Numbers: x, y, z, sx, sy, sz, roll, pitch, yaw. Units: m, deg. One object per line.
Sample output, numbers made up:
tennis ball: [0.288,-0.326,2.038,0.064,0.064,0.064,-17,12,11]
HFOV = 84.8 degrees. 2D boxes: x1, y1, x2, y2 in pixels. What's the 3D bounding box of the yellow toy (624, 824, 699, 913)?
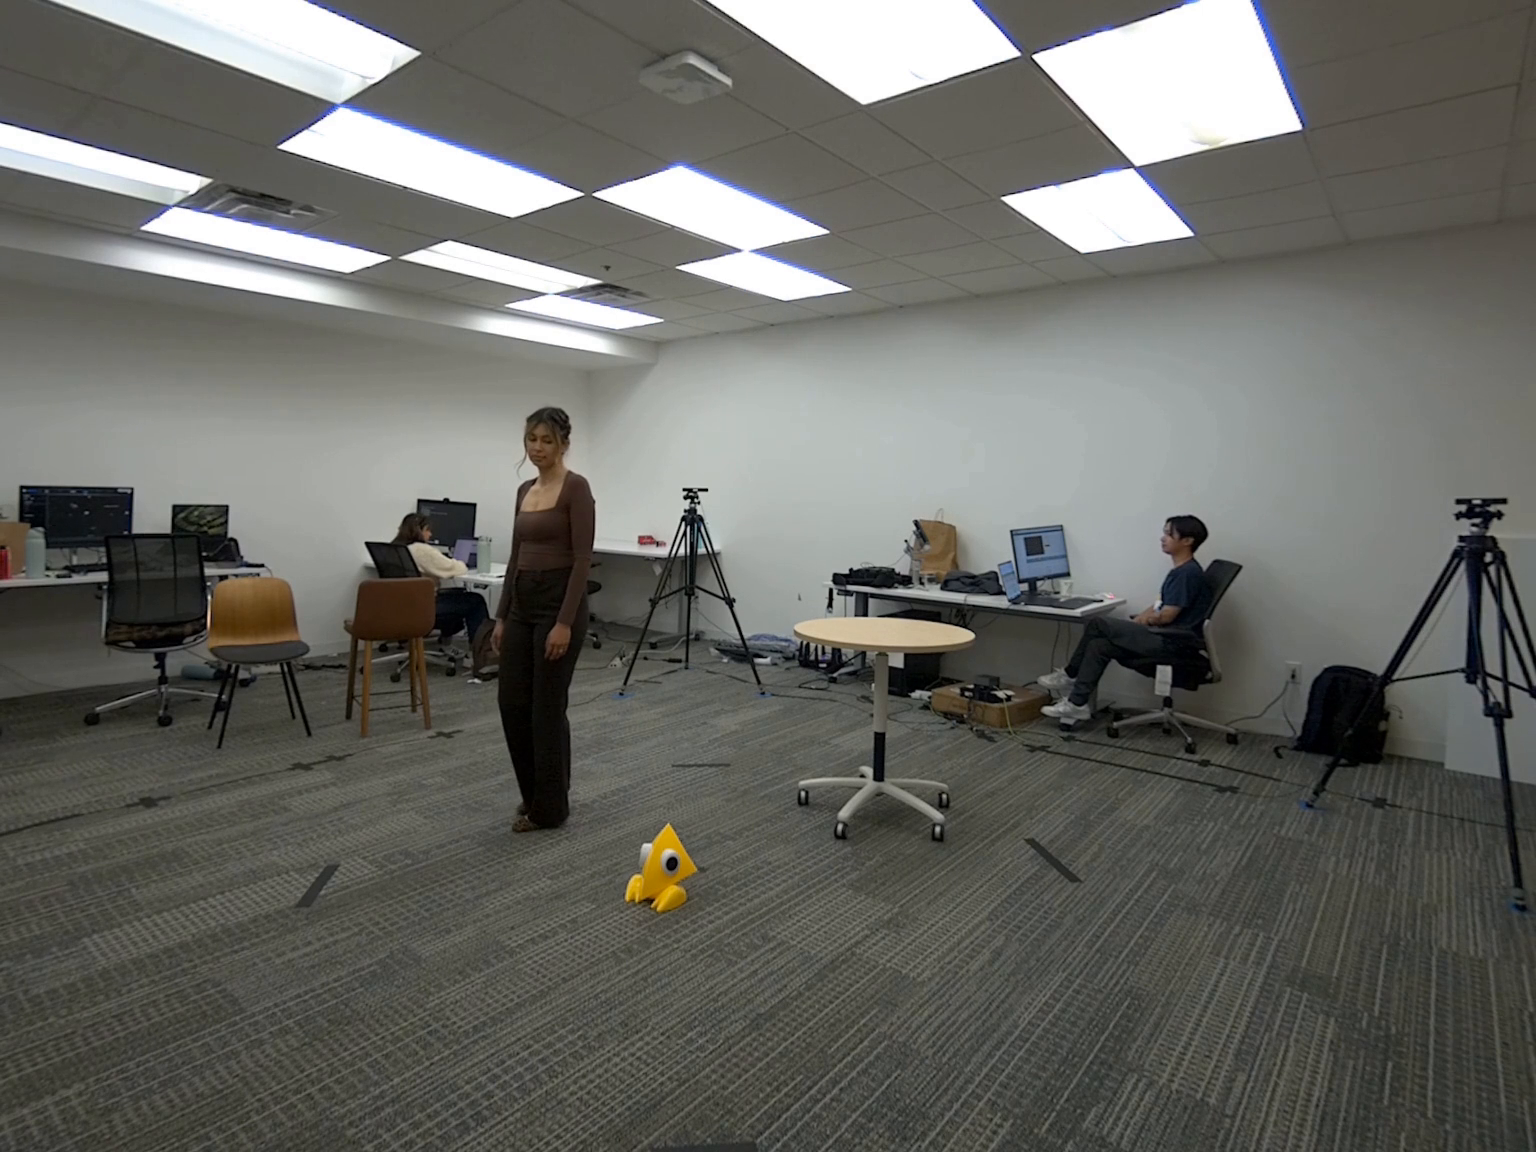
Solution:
yellow toy: [-0.382,0.979,2.890,0.211,0.230,0.188,3,5,29]
